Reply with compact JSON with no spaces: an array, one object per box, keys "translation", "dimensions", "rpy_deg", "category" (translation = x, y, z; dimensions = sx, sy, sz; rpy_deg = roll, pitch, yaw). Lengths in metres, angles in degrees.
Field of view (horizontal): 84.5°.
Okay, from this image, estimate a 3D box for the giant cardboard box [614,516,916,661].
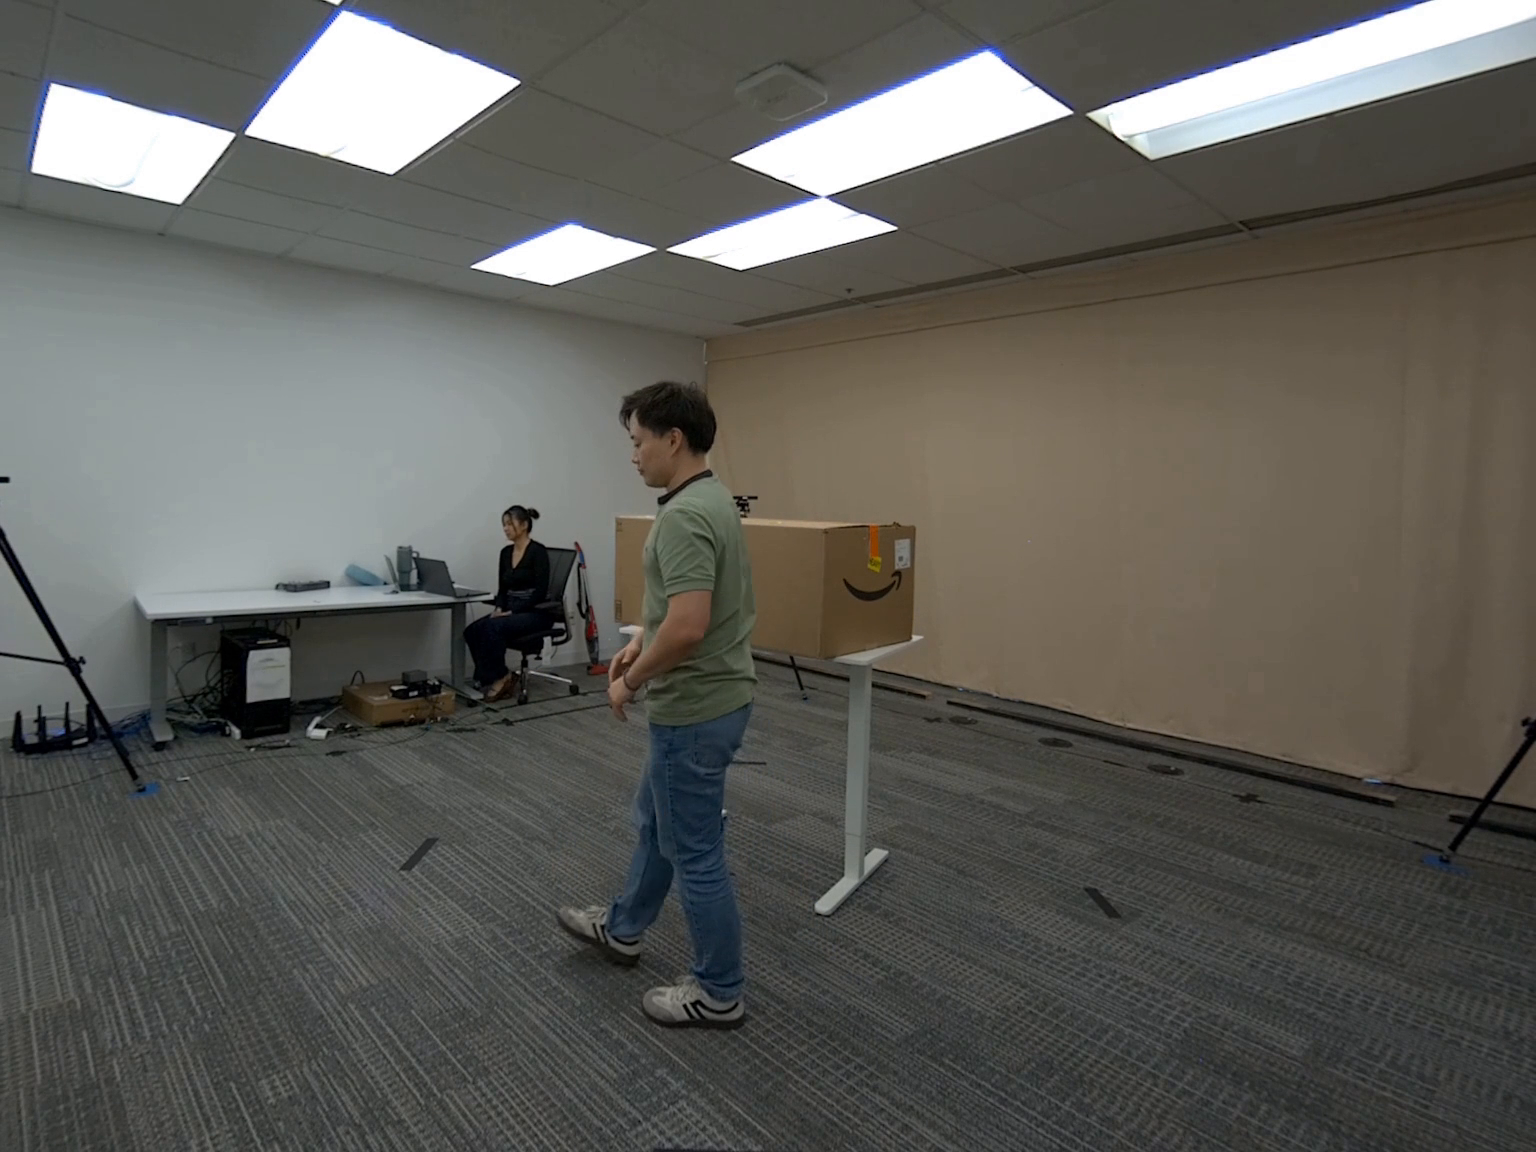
[{"translation":[-0.040,0.002,3.215],"dimensions":[1.052,0.425,0.565],"rpy_deg":[6,7,41],"category":"giant cardboard box"}]
